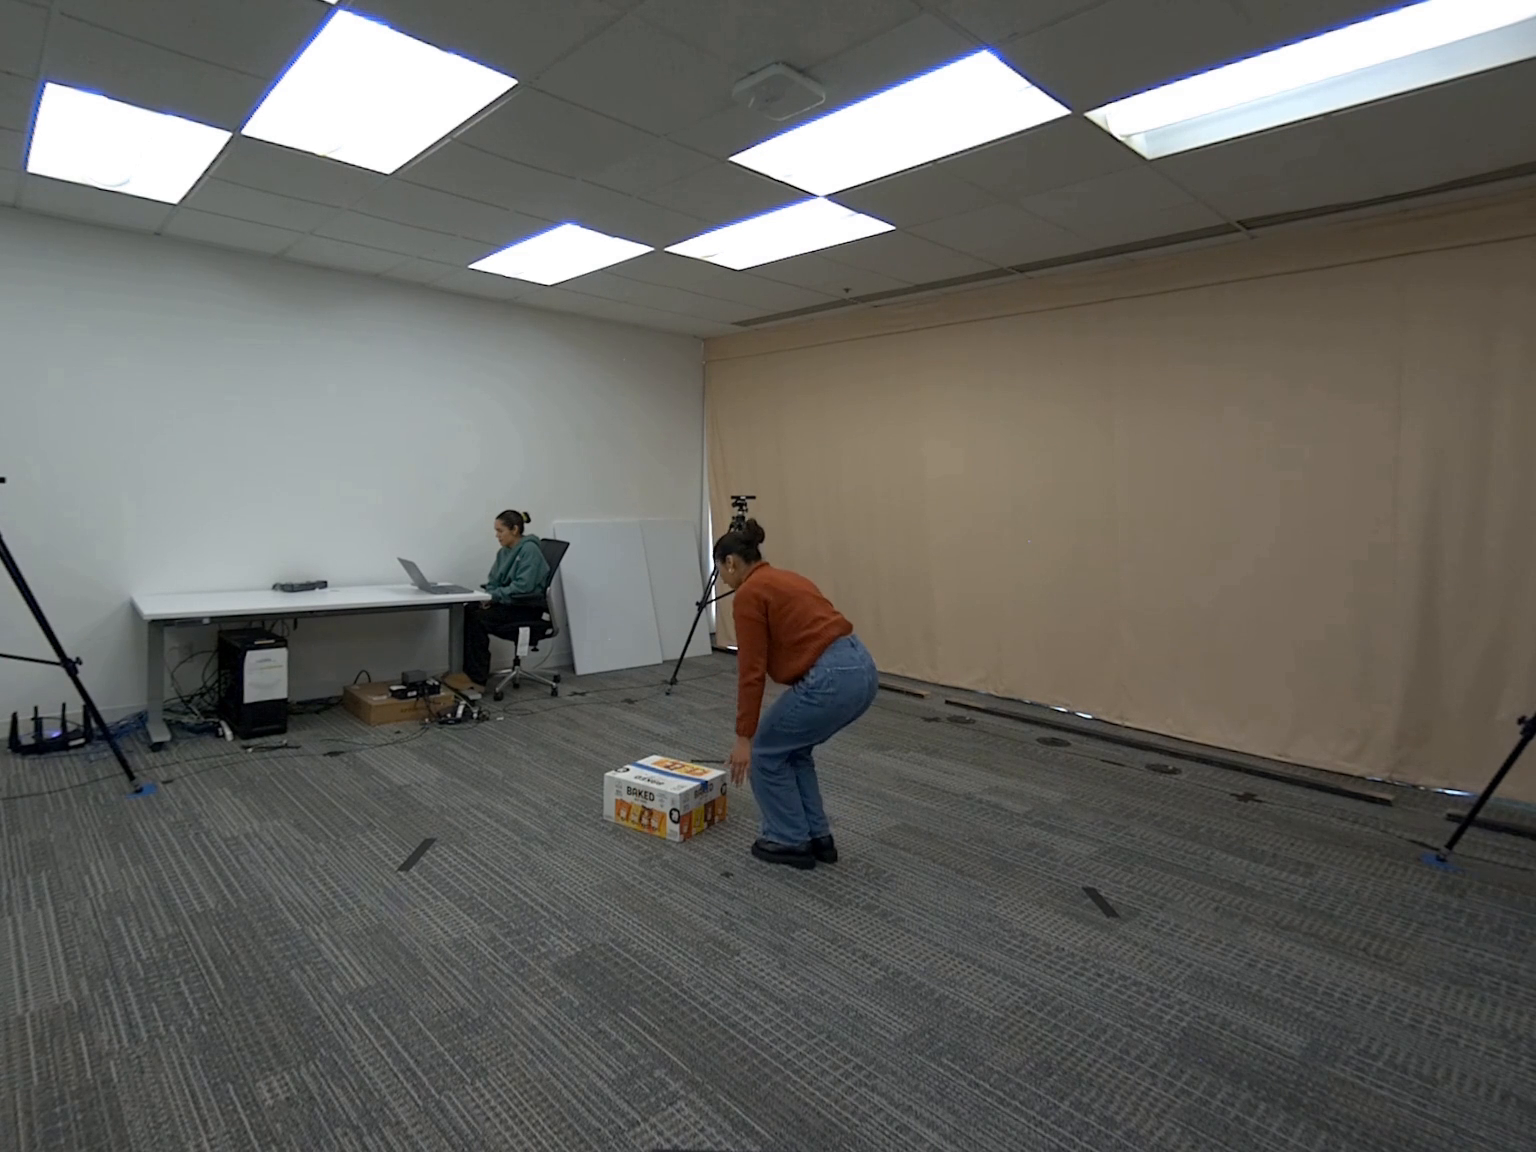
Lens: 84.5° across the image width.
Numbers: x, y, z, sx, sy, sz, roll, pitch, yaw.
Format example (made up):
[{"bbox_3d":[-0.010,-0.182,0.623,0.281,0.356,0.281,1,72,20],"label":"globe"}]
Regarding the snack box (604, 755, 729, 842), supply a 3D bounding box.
[{"bbox_3d":[-0.444,0.944,3.622,0.414,0.205,0.333,4,5,32],"label":"snack box"}]
